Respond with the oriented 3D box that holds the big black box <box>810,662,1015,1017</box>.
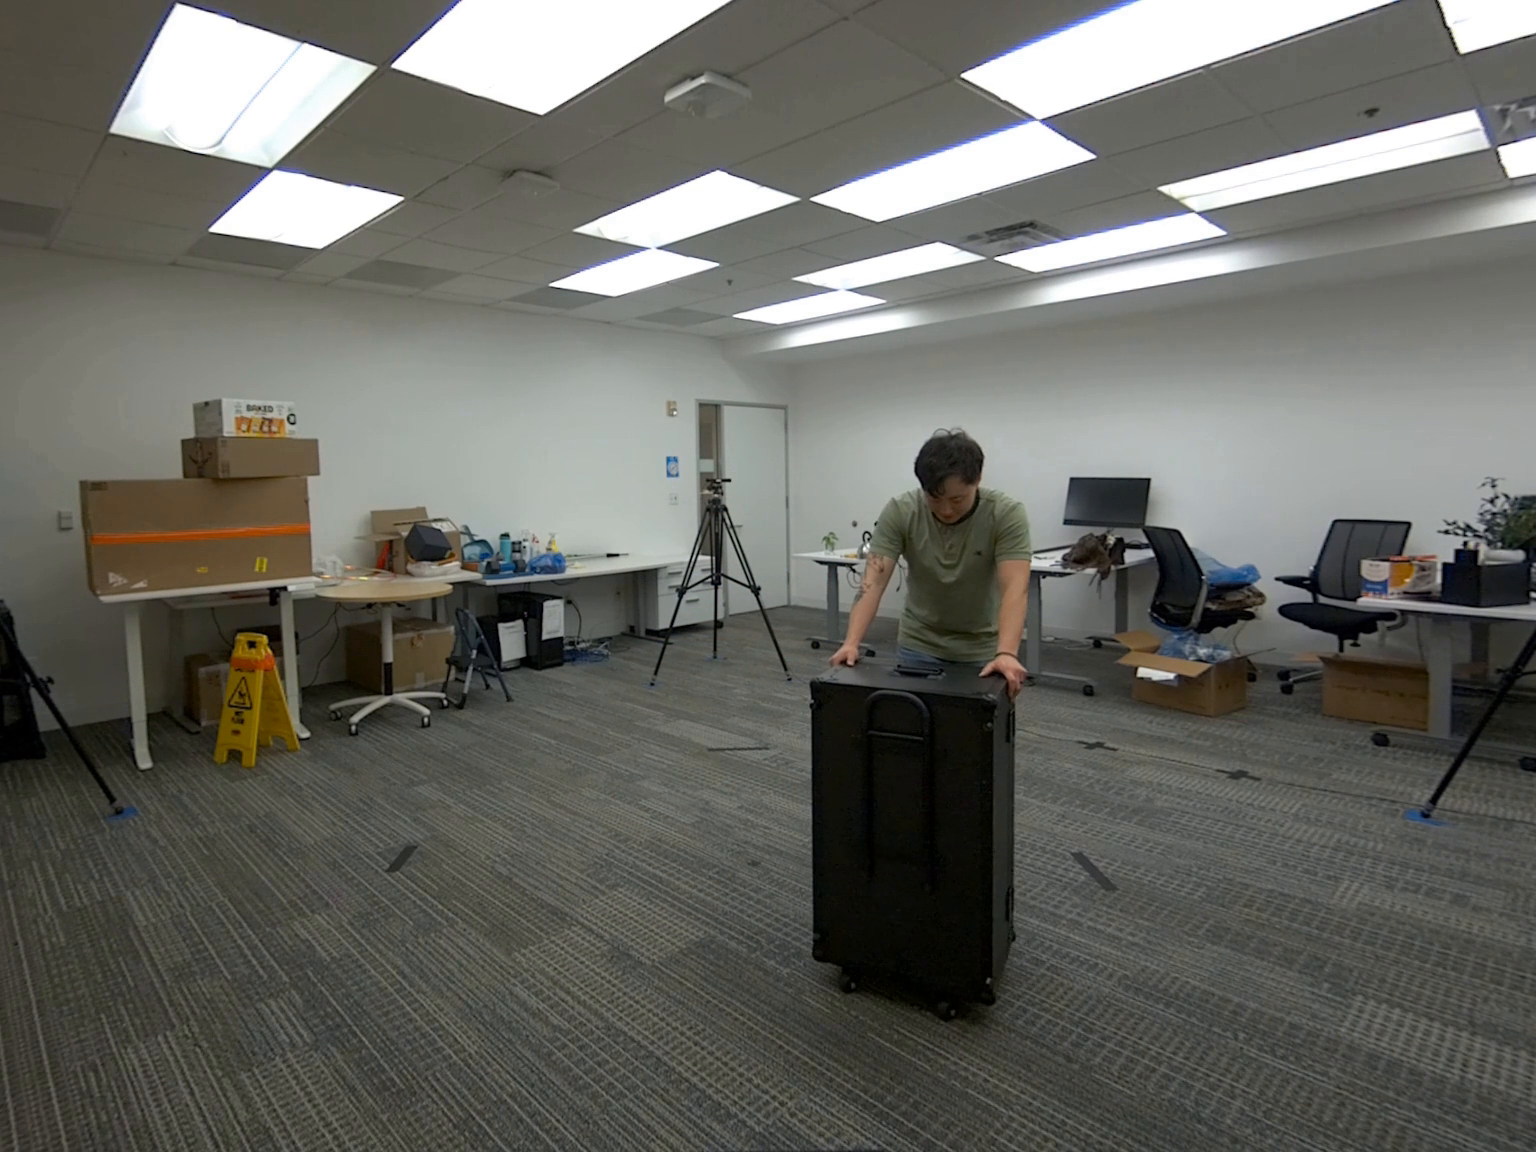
[{"bbox_3d":[0.412,0.695,2.358,0.534,0.858,0.388,1,5,27],"label":"big black box"}]
